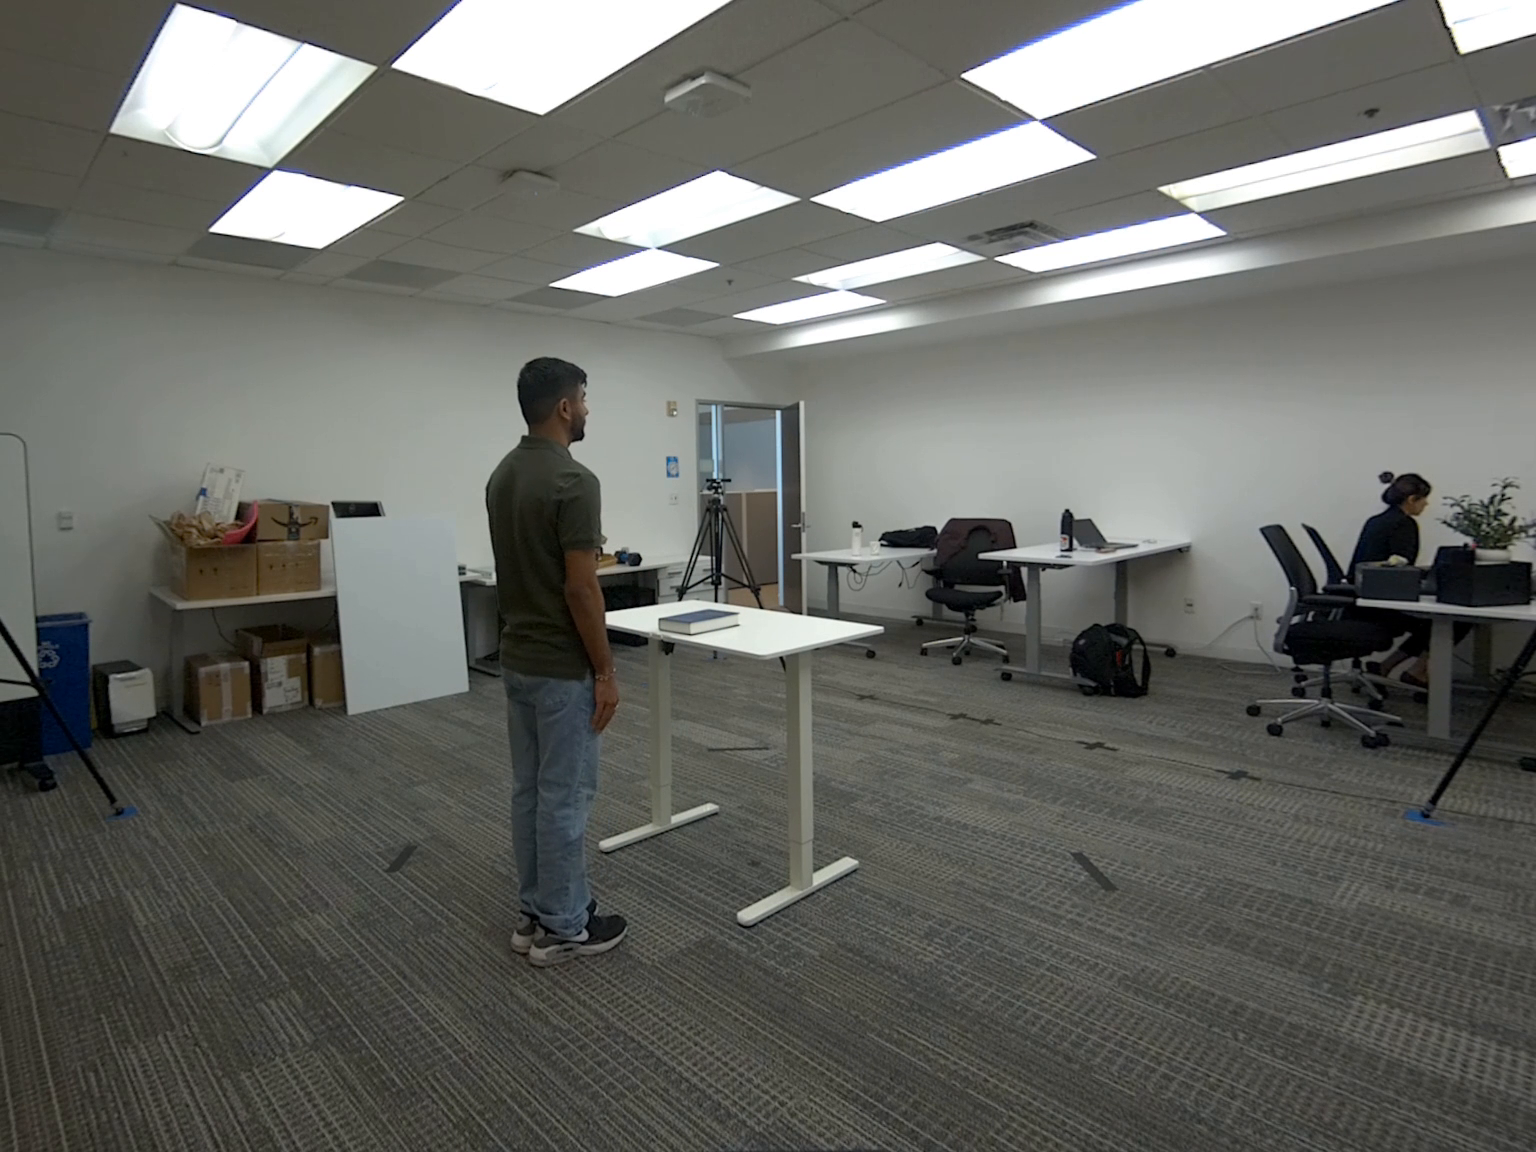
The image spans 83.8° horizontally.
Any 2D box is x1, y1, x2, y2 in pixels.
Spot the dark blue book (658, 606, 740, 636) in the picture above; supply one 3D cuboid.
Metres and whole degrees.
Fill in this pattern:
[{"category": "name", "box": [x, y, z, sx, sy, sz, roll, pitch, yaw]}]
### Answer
[{"category": "dark blue book", "box": [-0.239, 0.162, 2.971, 0.168, 0.045, 0.239, 4, 8, 41]}]
